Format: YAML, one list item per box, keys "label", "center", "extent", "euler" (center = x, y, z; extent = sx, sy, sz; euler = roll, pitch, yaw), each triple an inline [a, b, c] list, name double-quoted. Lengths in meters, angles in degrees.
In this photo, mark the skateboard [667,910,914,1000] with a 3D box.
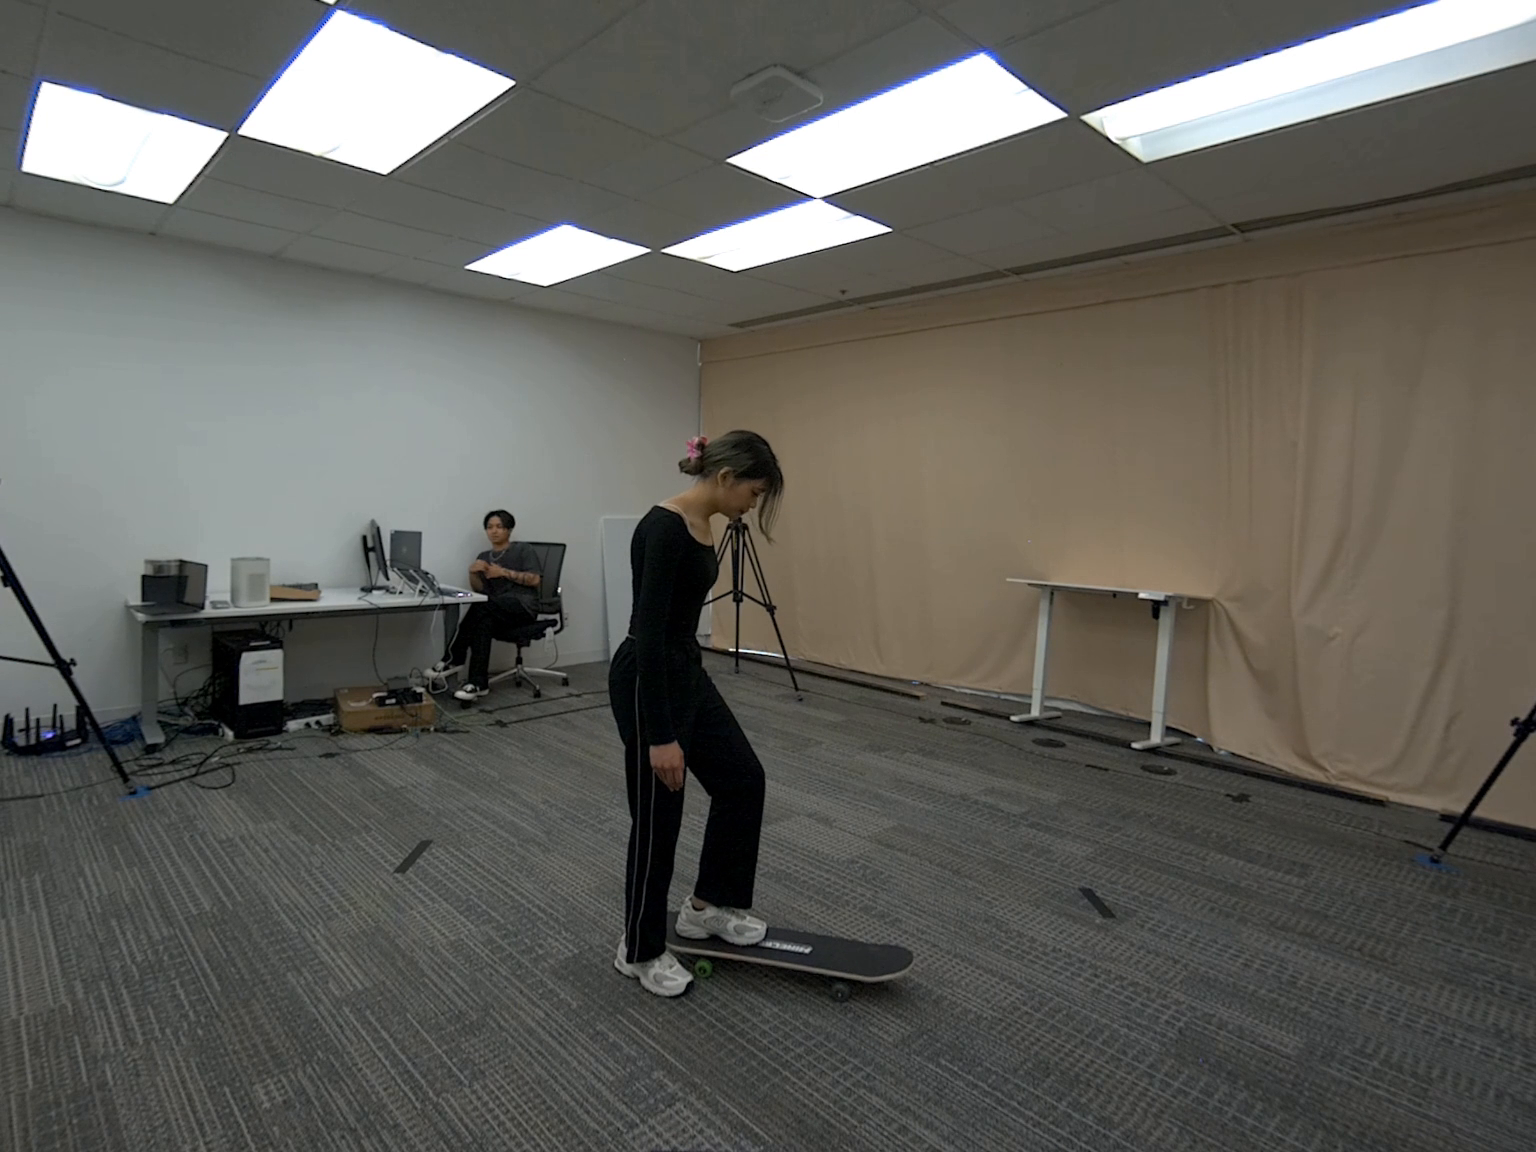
- label: "skateboard"
  center: [0.024, 1.119, 2.463]
  extent: [0.794, 0.110, 0.192]
  euler: [2, 5, 14]
